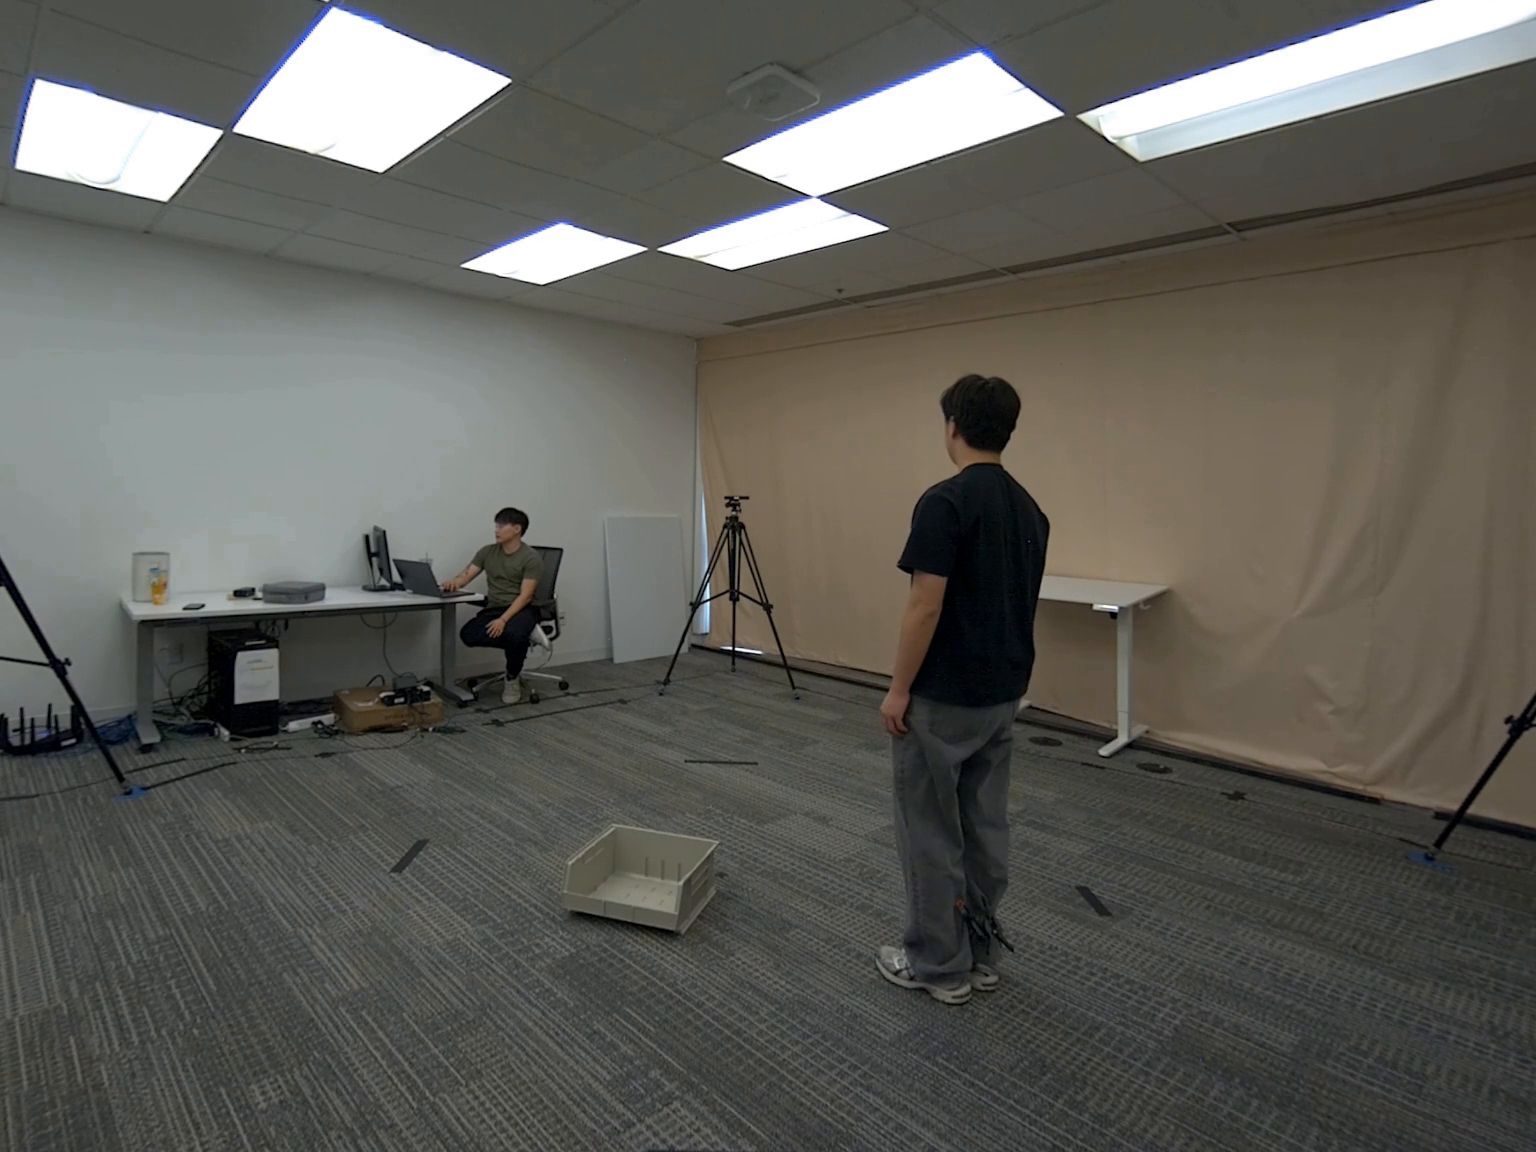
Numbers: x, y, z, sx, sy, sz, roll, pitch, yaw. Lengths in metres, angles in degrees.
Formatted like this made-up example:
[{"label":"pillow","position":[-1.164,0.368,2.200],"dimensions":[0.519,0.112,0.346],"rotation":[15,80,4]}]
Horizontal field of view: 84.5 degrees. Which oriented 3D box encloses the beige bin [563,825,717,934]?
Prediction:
[{"label":"beige bin","position":[-0.430,1.032,2.858],"dimensions":[0.428,0.188,0.372],"rotation":[2,3,17]}]
